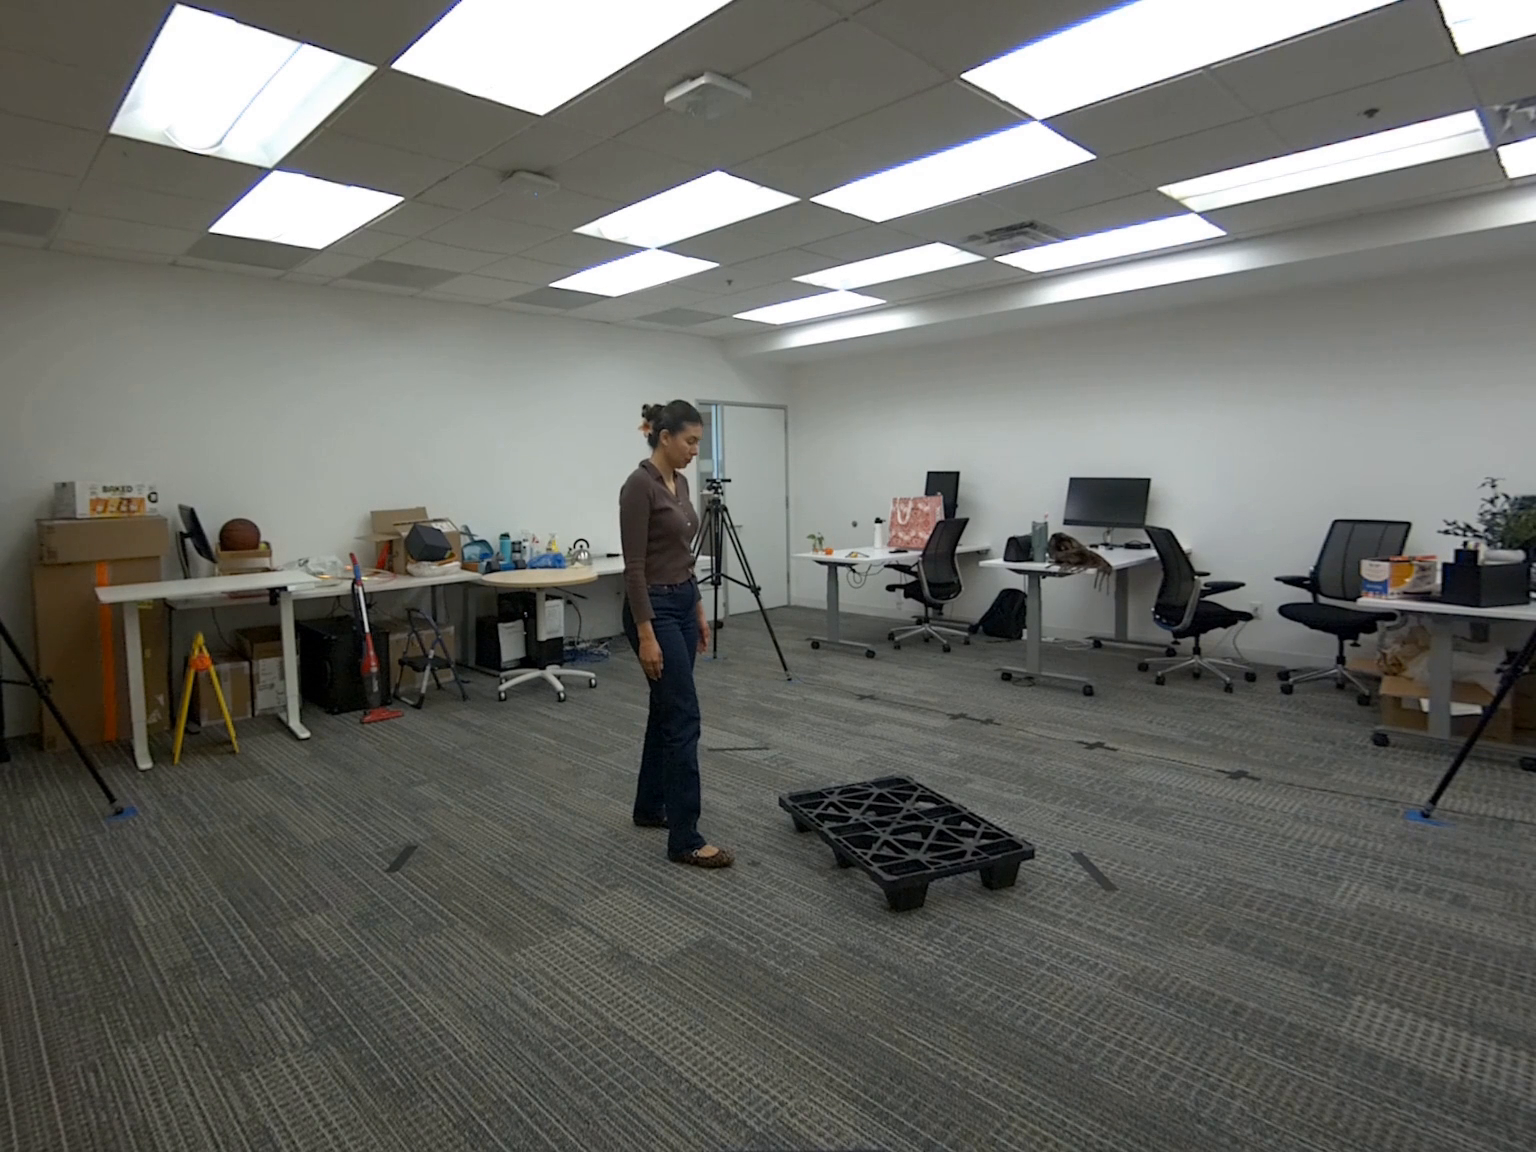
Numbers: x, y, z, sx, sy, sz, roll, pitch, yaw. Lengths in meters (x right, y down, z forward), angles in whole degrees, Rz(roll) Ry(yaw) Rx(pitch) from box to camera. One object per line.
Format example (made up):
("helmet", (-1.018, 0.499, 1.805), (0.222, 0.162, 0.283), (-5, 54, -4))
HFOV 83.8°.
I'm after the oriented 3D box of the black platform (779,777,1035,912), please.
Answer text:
("black platform", (0.472, 0.964, 3.147), (0.594, 0.142, 0.825), (-4, 7, -23))
